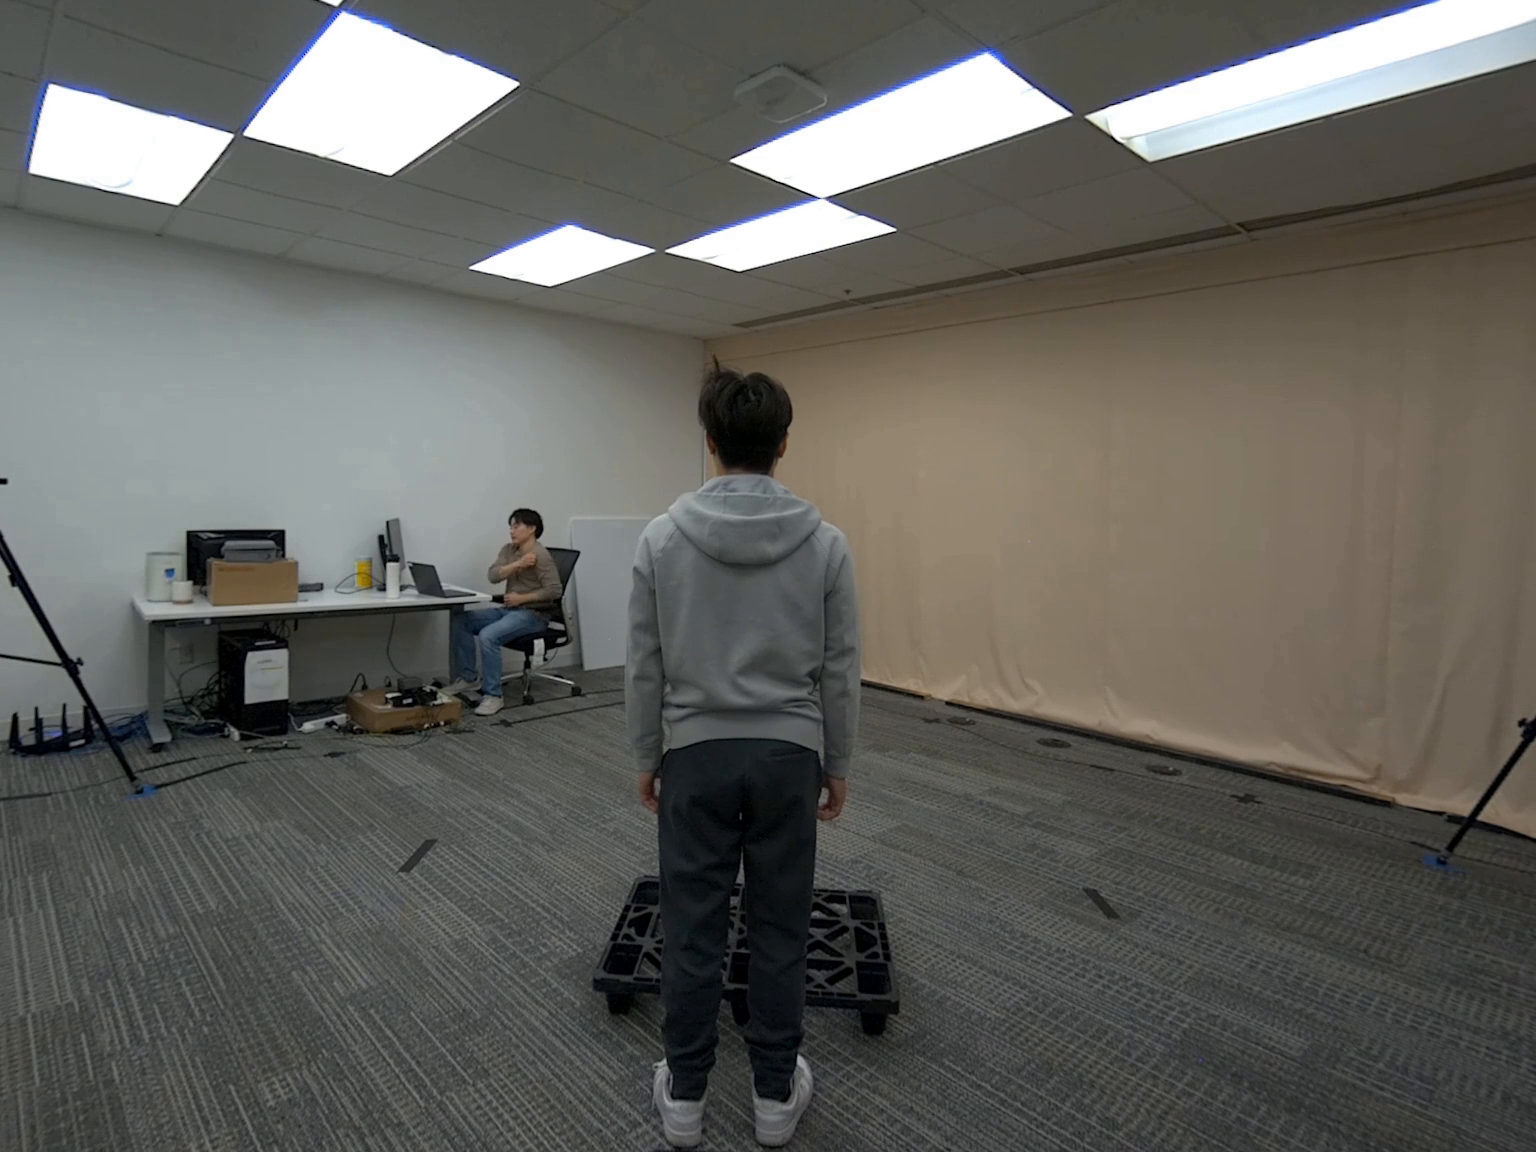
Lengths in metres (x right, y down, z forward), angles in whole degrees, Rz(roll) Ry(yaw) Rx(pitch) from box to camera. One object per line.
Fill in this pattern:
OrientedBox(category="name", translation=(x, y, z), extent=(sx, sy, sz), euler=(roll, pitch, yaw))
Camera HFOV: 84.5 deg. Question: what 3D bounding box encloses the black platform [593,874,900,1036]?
OrientedBox(category="black platform", translation=(-0.060, 1.099, 2.462), extent=(0.809, 0.143, 0.604), euler=(2, 5, 4))
